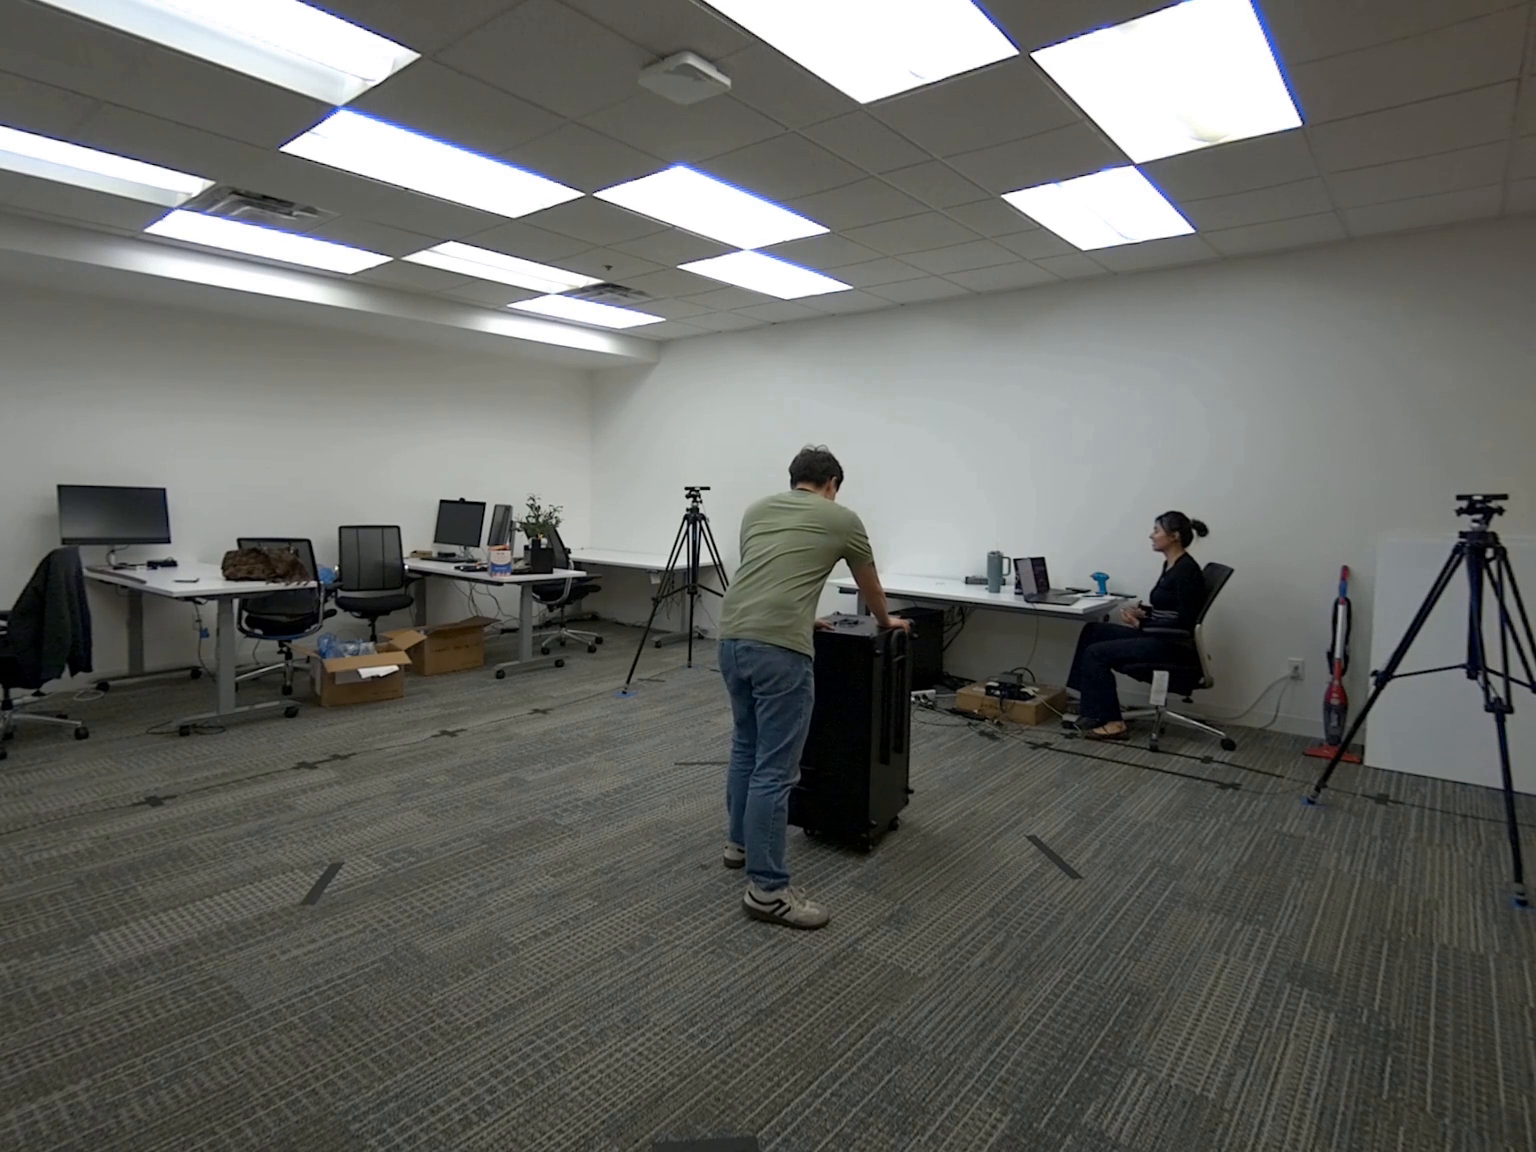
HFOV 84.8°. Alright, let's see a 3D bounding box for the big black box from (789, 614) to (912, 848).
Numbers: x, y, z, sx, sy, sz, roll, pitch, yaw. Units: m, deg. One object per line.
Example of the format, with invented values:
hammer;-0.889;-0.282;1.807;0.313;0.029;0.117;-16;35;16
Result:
big black box;0.345;0.618;3.460;0.408;0.859;0.508;3;4;29
